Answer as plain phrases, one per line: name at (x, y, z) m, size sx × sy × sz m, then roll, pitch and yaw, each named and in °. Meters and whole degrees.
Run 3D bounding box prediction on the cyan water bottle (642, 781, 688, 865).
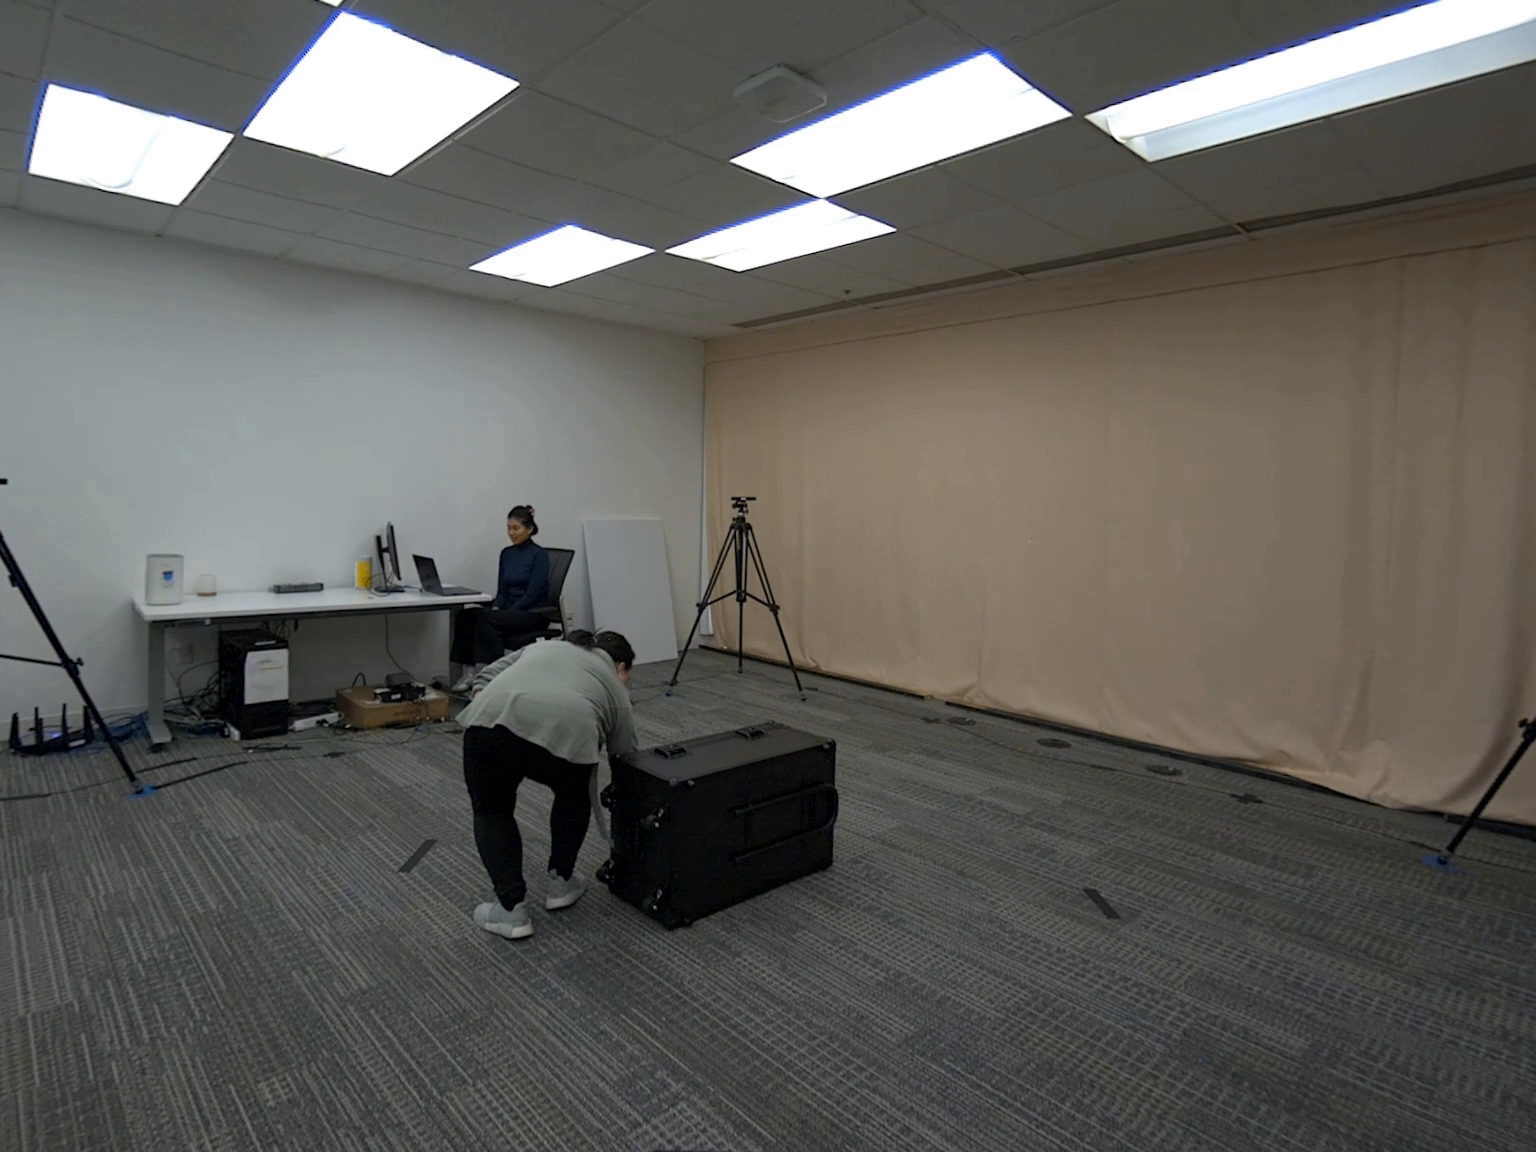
cyan water bottle at (-0.396, 0.945, 3.256) m, size 0.092 × 0.285 × 0.091 m, roll 14°, pitch -14°, yaw 2°
